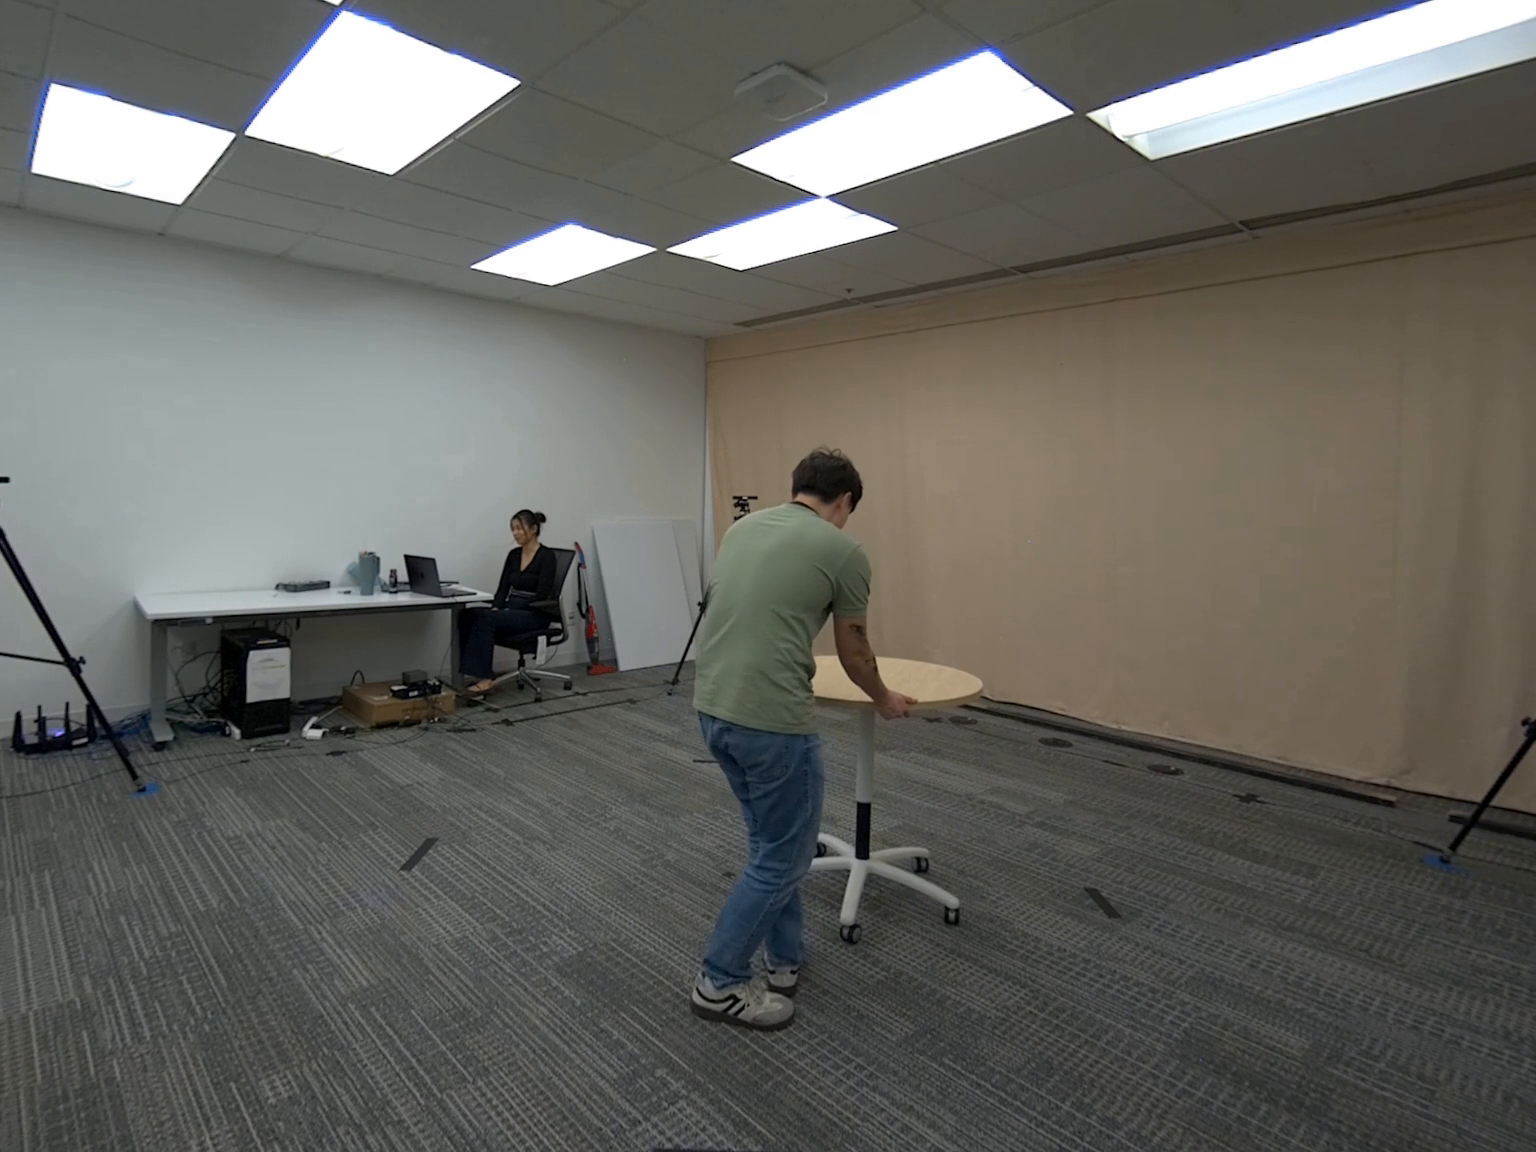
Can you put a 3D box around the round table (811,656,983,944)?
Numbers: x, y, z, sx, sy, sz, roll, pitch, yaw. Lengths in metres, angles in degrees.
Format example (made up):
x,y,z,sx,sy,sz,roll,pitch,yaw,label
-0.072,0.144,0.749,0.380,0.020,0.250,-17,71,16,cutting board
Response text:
x,y,z,sx,sy,sz,roll,pitch,yaw,label
0.334,0.740,2.943,0.763,0.792,0.767,2,4,-1,round table
